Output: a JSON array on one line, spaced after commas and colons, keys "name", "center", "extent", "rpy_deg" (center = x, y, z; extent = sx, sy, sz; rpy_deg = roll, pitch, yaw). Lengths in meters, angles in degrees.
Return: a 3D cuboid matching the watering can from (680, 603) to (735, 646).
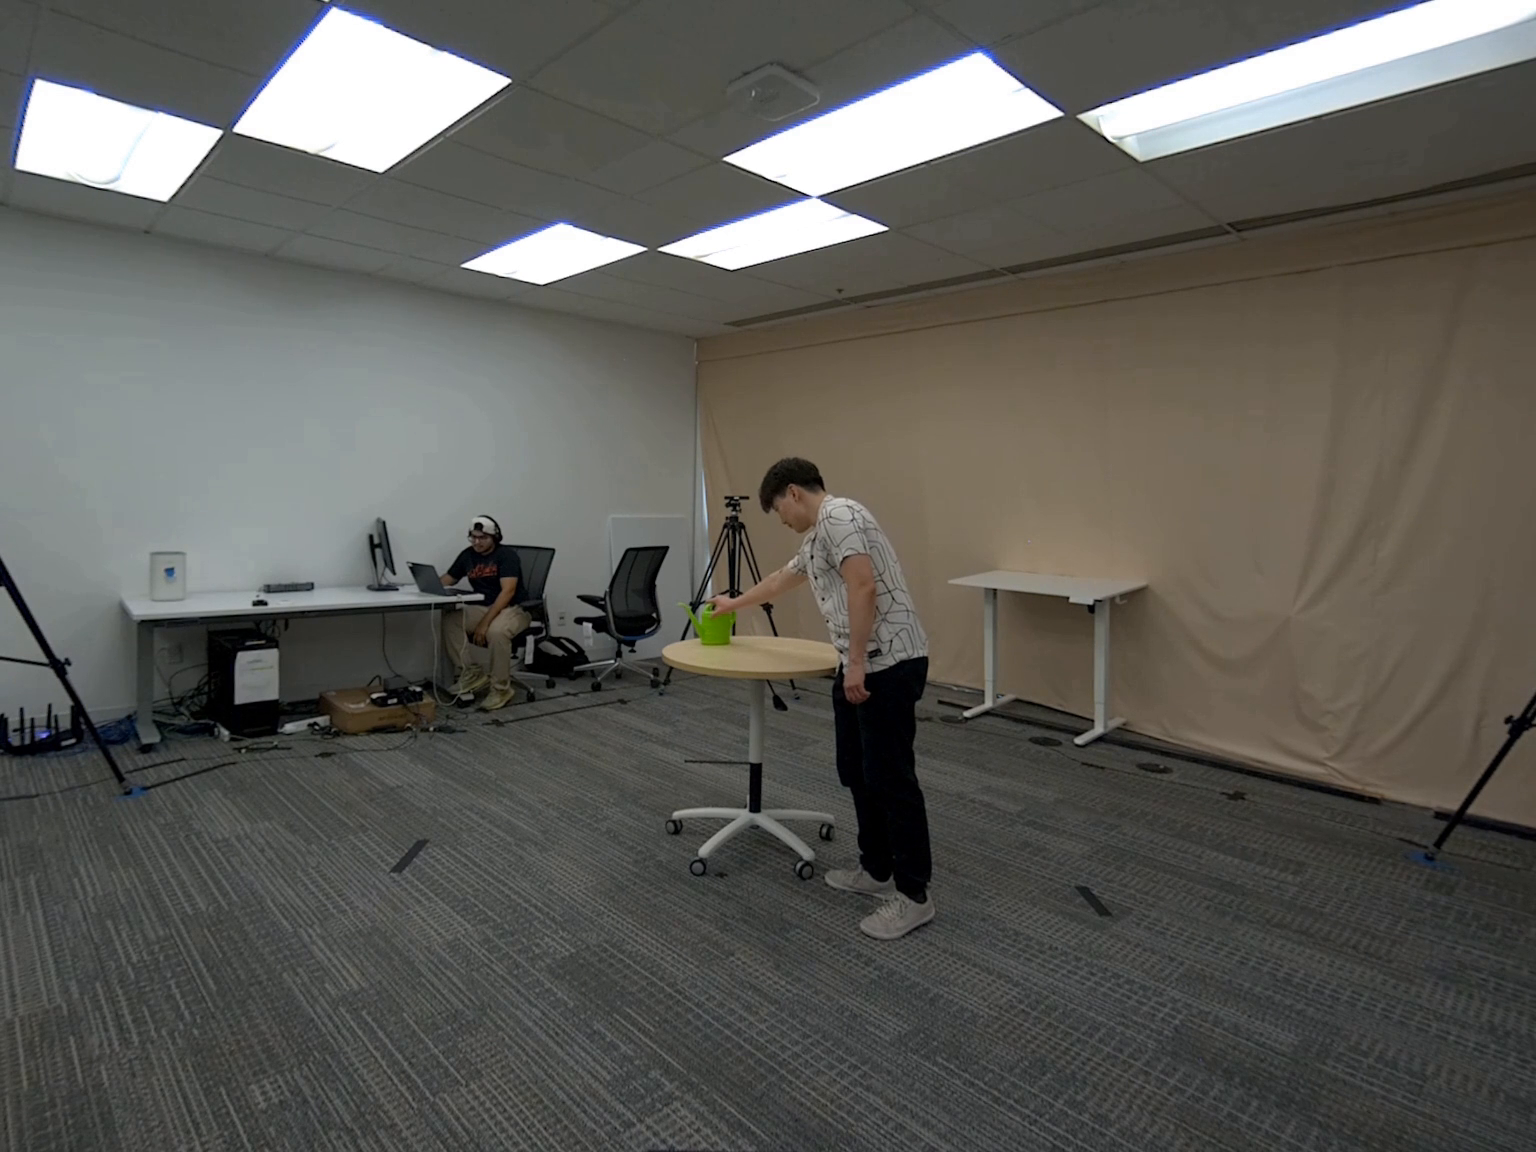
[{"name": "watering can", "center": [-0.265, 0.195, 3.500], "extent": [0.274, 0.176, 0.099], "rpy_deg": [4, 5, -17]}]
